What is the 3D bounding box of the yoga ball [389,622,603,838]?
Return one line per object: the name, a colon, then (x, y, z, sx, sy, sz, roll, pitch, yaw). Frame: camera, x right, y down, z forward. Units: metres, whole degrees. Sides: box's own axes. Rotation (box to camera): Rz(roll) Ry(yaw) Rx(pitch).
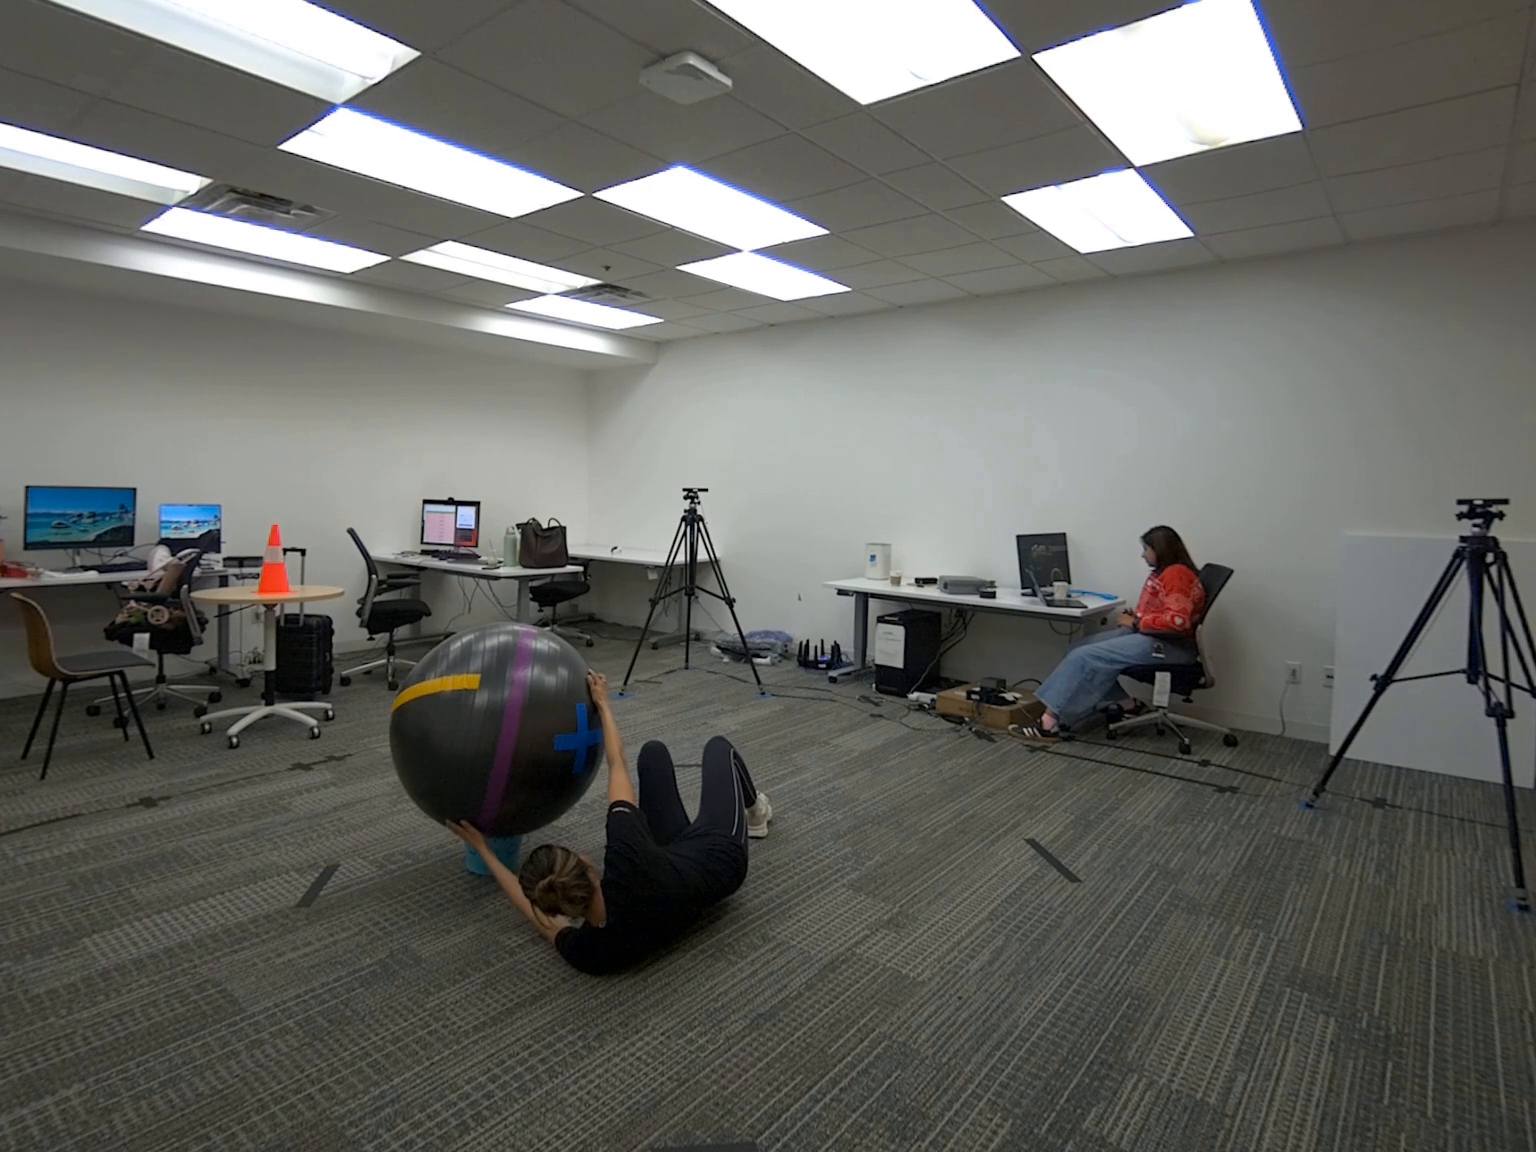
yoga ball: (-0.973, 0.548, 3.054, 0.757, 0.756, 0.762, 1, 4, -2)
